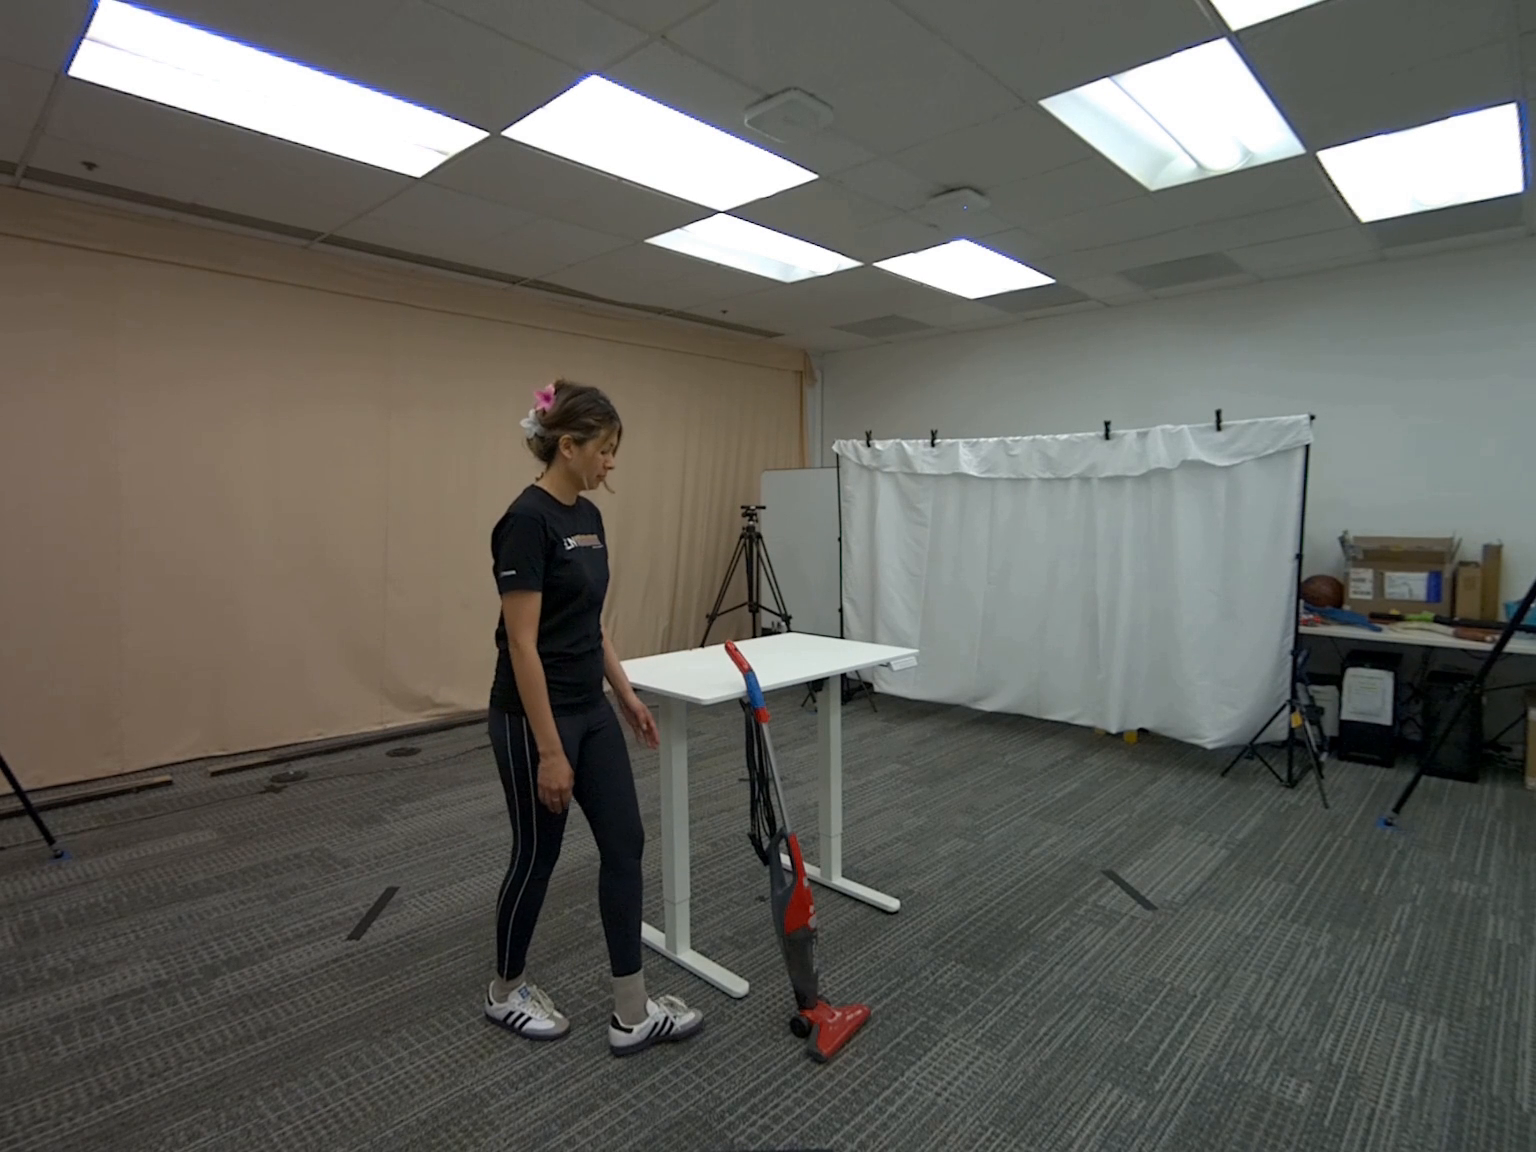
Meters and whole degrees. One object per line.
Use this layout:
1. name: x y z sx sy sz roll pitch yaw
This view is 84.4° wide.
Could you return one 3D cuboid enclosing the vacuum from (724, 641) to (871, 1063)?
1. vacuum: 0.027 0.706 2.288 0.147 1.057 0.245 -21 -10 33
